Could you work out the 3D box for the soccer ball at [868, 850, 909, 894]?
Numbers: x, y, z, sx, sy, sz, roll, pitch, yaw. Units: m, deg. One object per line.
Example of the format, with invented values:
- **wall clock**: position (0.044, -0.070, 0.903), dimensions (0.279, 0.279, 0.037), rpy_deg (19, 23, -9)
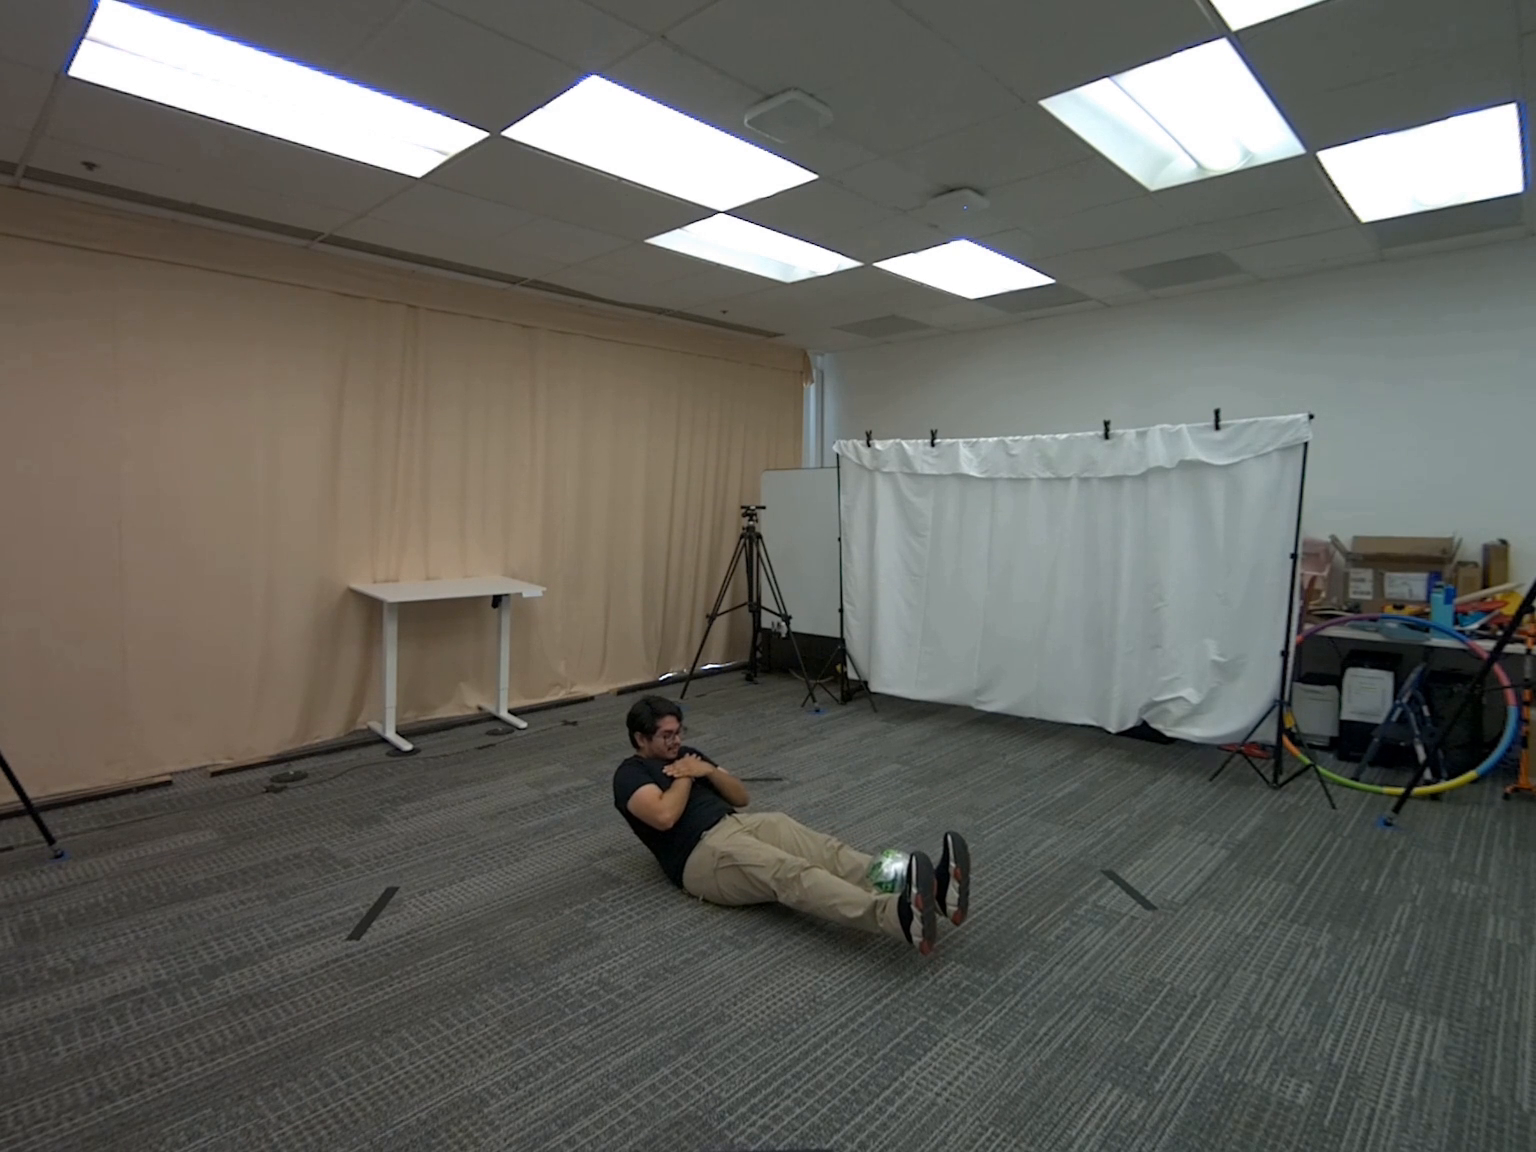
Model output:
- **soccer ball**: position (0.410, 0.965, 2.648), dimensions (0.187, 0.187, 0.188), rpy_deg (0, 4, -2)
